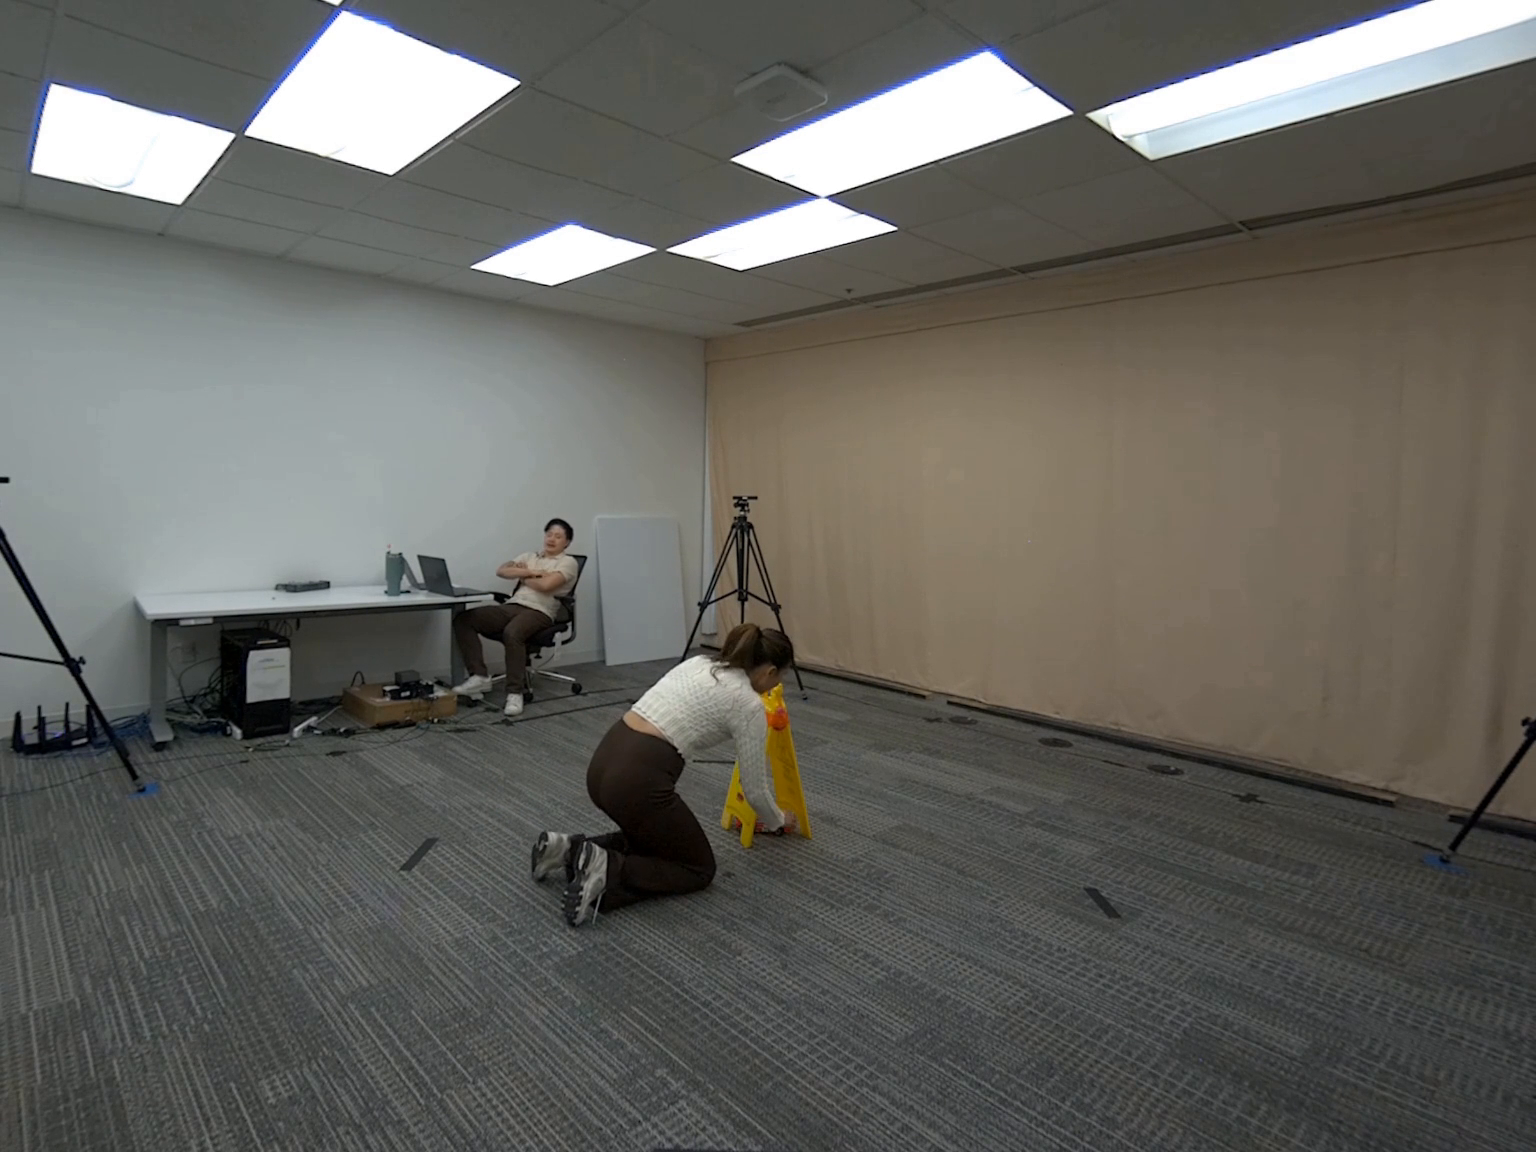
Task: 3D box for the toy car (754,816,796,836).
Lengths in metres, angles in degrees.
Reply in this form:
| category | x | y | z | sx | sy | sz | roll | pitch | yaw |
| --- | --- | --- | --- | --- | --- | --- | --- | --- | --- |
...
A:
| category | x | y | z | sx | sy | sz | roll | pitch | yaw |
| --- | --- | --- | --- | --- | --- | --- | --- | --- | --- |
| toy car | -0.007 | 1.038 | 3.521 | 0.255 | 0.083 | 0.130 | -9 | 4 | 6 |
